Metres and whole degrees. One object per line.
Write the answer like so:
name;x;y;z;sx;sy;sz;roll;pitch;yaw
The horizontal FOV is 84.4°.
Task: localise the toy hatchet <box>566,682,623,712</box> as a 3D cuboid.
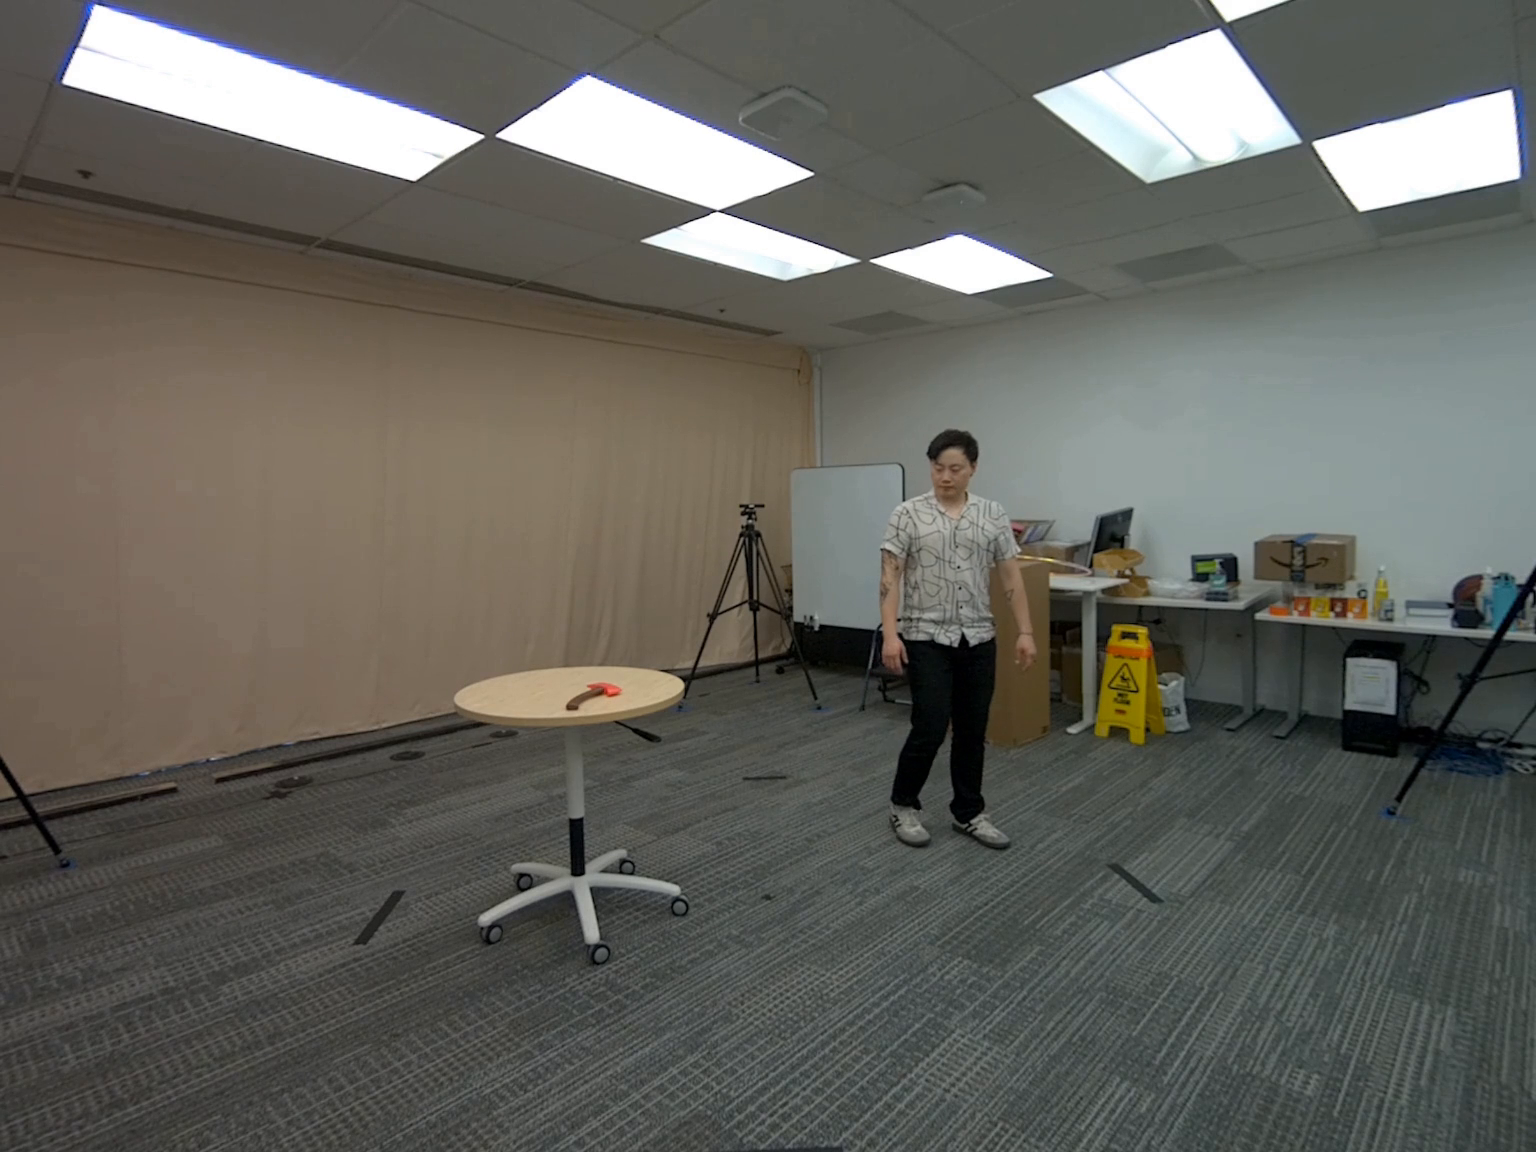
toy hatchet;-0.552;0.389;2.669;0.131;0.029;0.270;2;7;1
